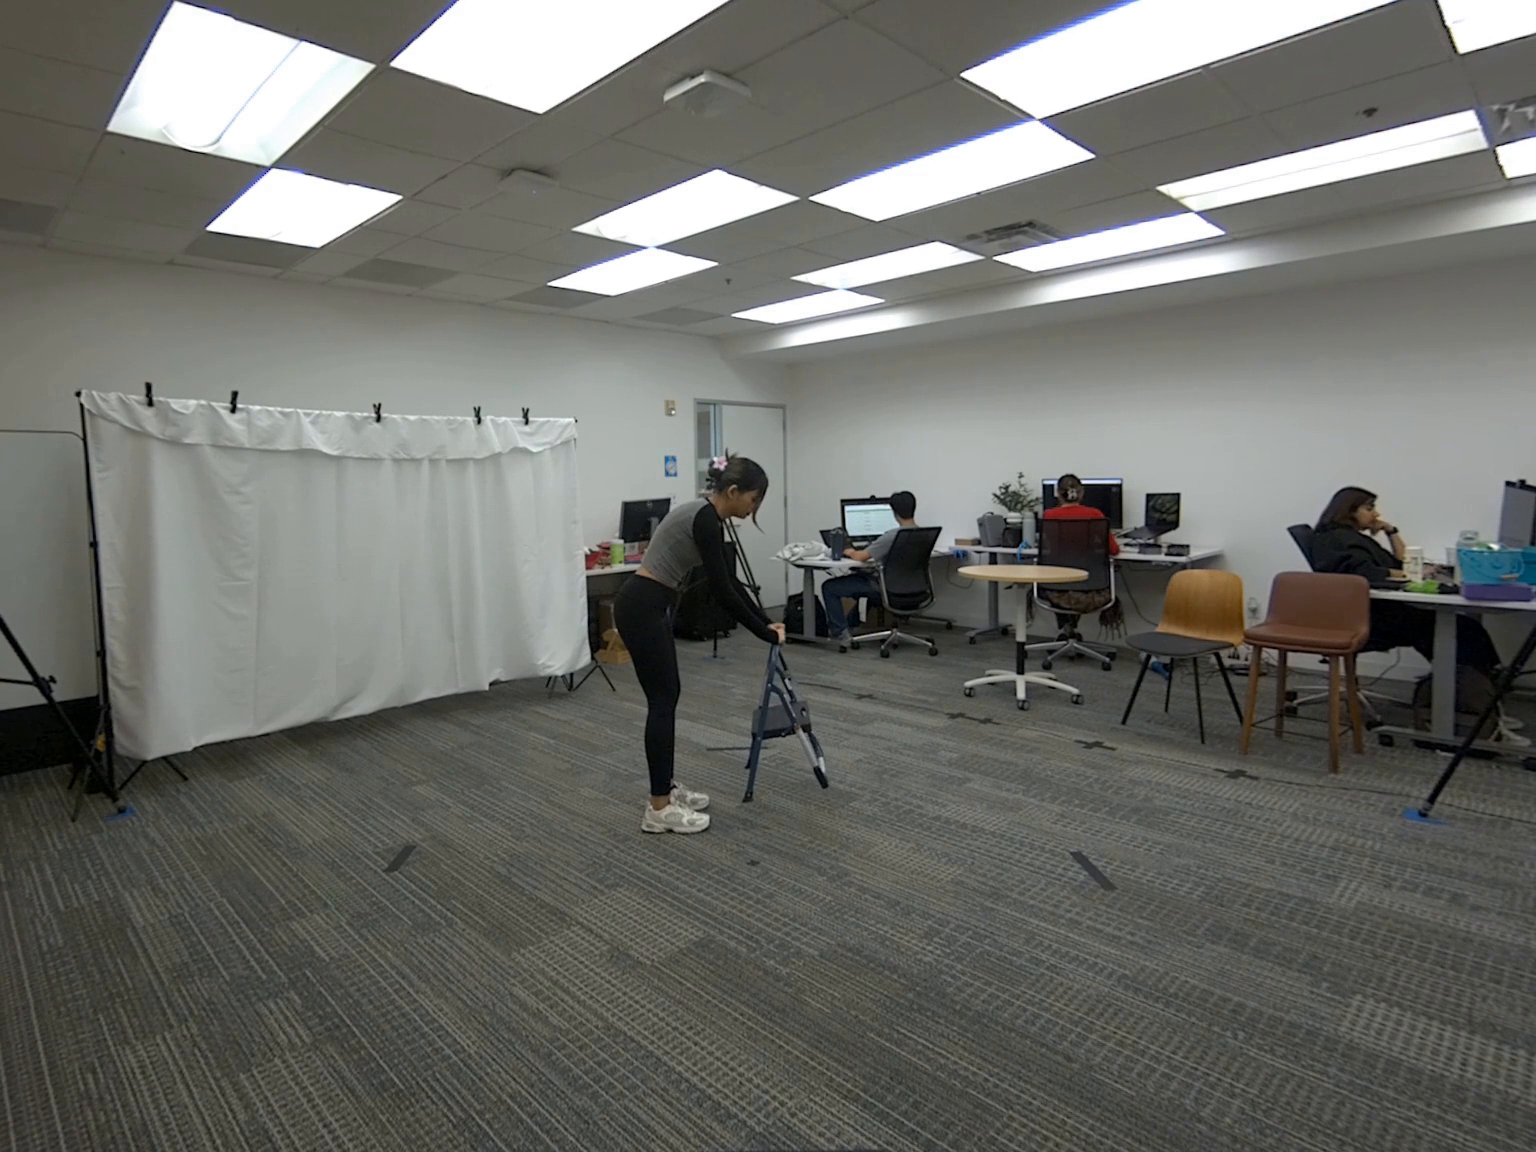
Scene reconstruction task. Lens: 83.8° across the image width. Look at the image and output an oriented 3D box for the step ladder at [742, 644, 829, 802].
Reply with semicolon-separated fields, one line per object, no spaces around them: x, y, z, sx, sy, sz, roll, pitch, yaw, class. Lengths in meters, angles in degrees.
0.020;0.549;3.557;0.350;0.604;0.431;-10;4;2;step ladder
